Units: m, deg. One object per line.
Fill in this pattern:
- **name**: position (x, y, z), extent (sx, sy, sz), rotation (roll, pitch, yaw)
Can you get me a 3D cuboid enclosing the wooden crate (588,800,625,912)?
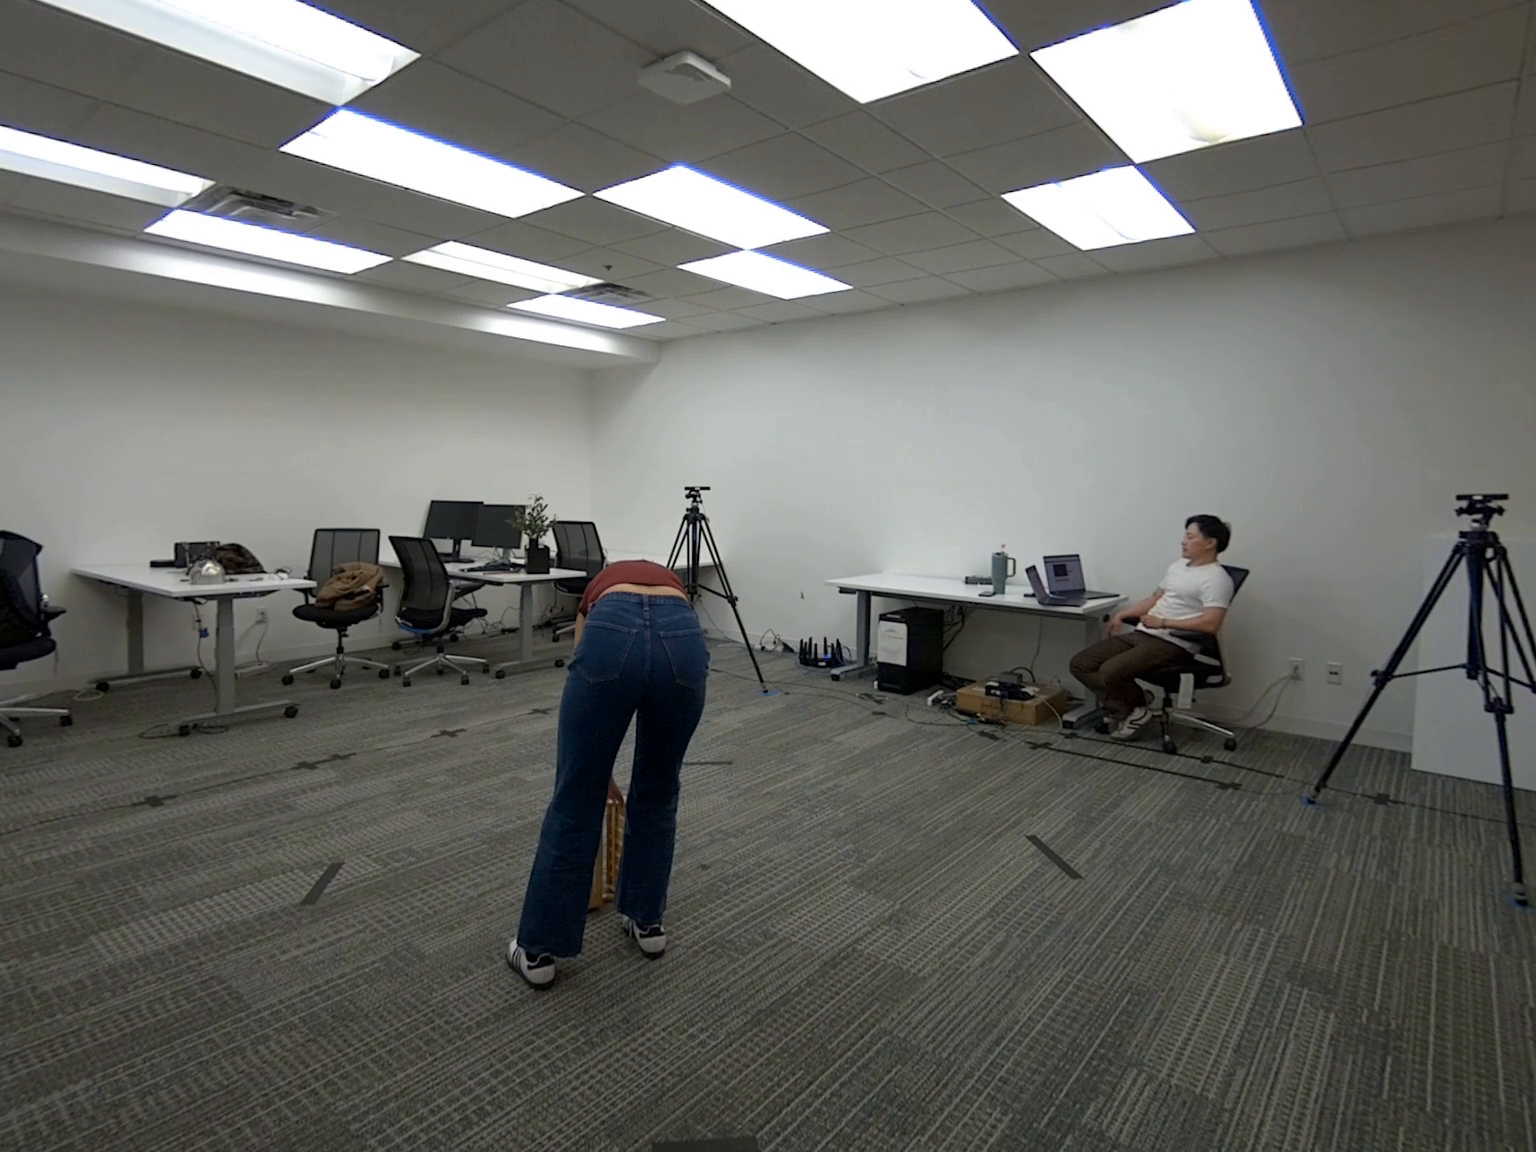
- **wooden crate**: position (-0.570, 0.914, 2.884), extent (0.265, 0.324, 0.311), rotation (0, 2, -33)
